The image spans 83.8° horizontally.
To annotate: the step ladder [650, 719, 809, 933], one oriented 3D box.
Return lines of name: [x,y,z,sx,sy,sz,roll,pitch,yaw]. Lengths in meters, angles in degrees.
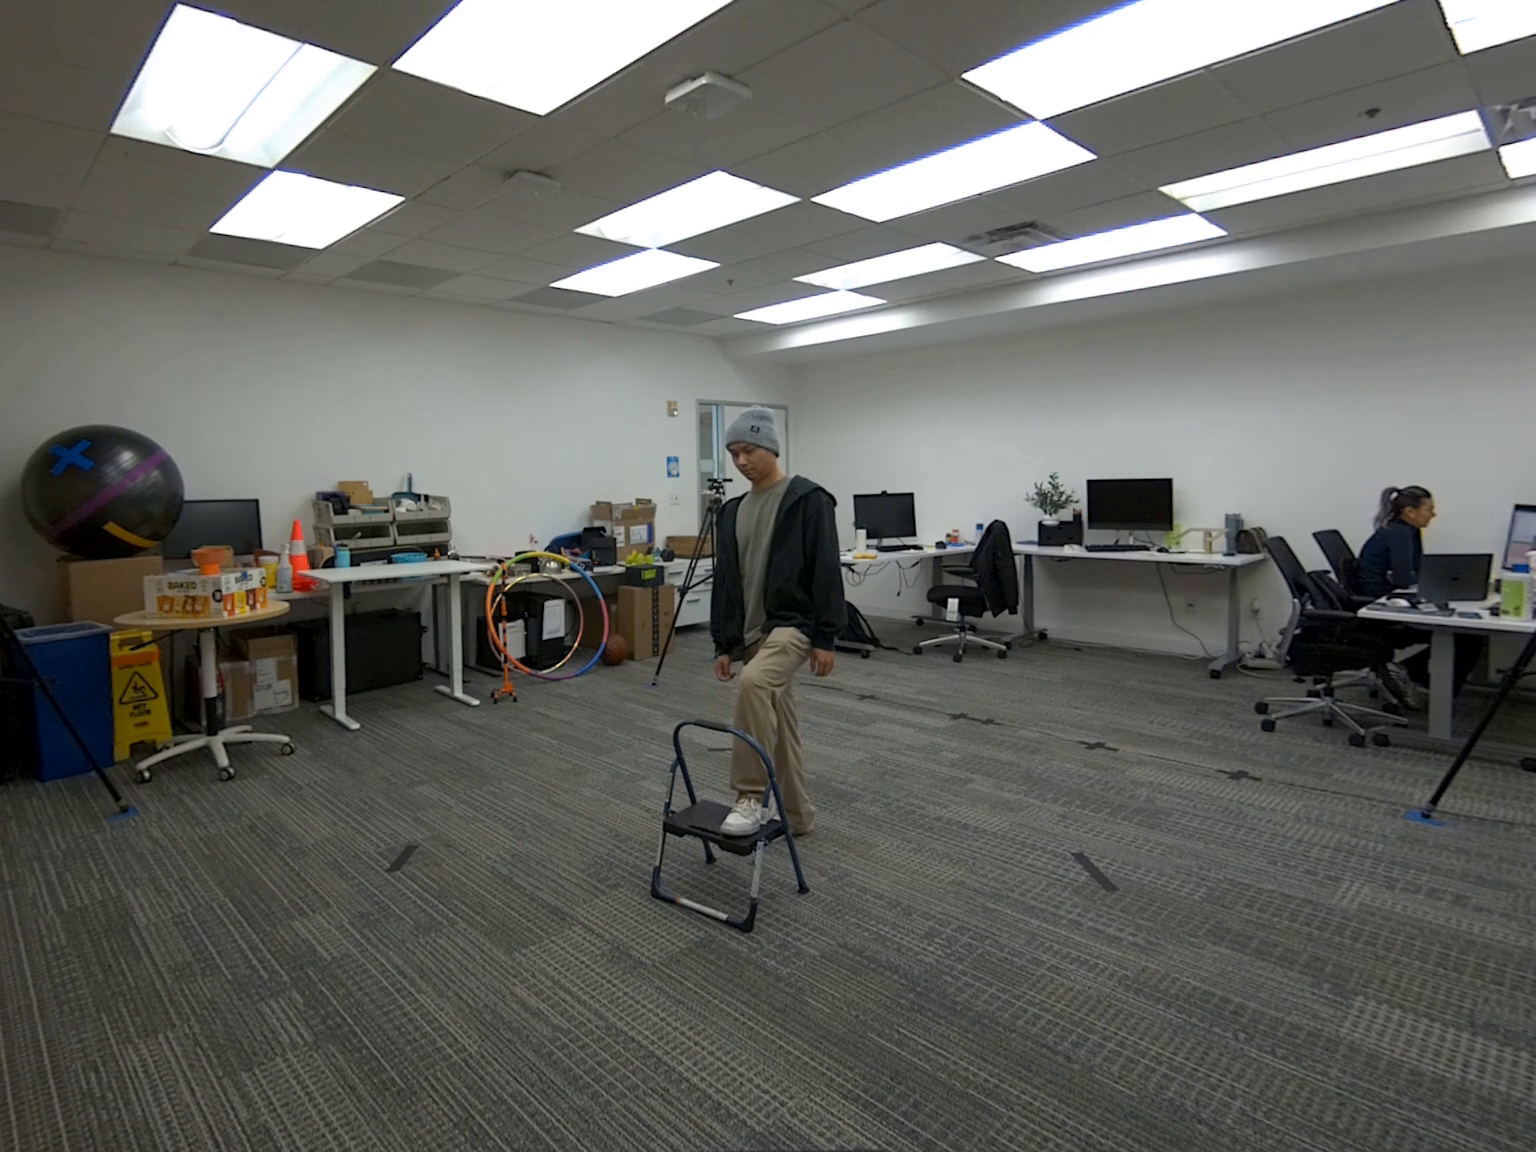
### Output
step ladder: [-0.137,0.773,2.865,0.443,0.603,0.341,2,6,35]
